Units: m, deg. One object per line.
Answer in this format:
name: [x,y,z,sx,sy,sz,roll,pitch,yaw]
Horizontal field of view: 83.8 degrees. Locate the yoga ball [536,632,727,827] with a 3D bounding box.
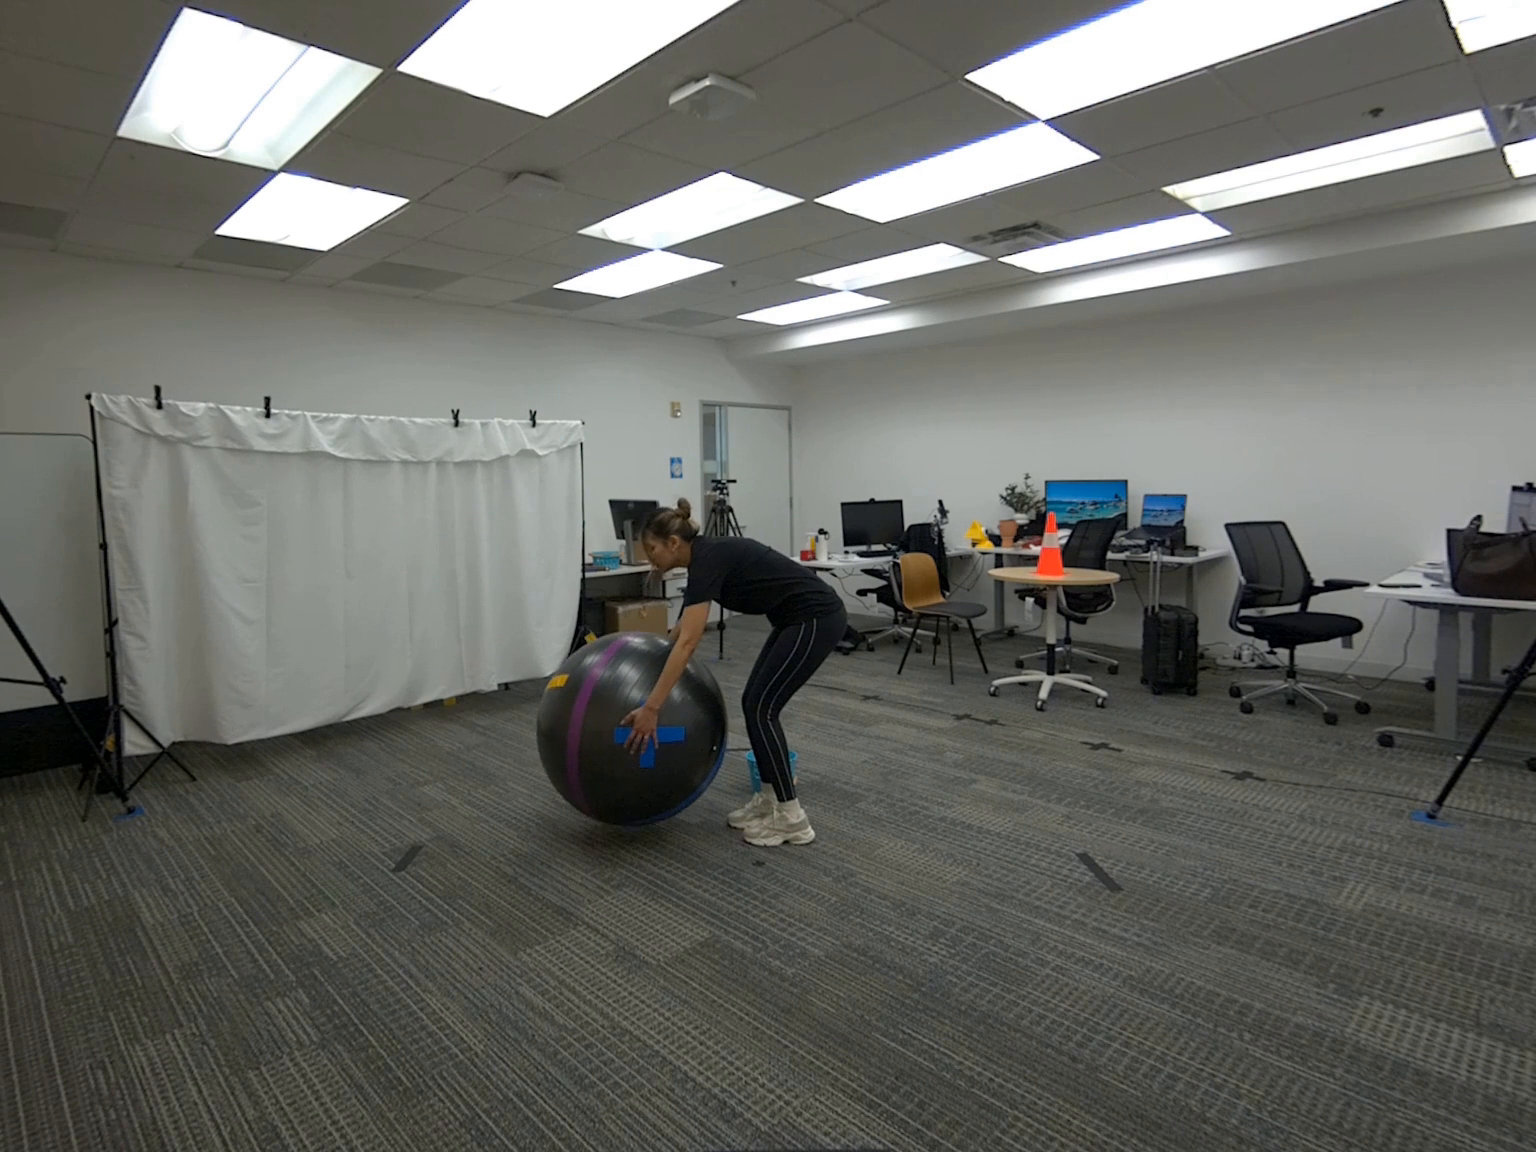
yoga ball: [-0.544,0.590,3.406,0.757,0.755,0.762,-1,5,-2]
